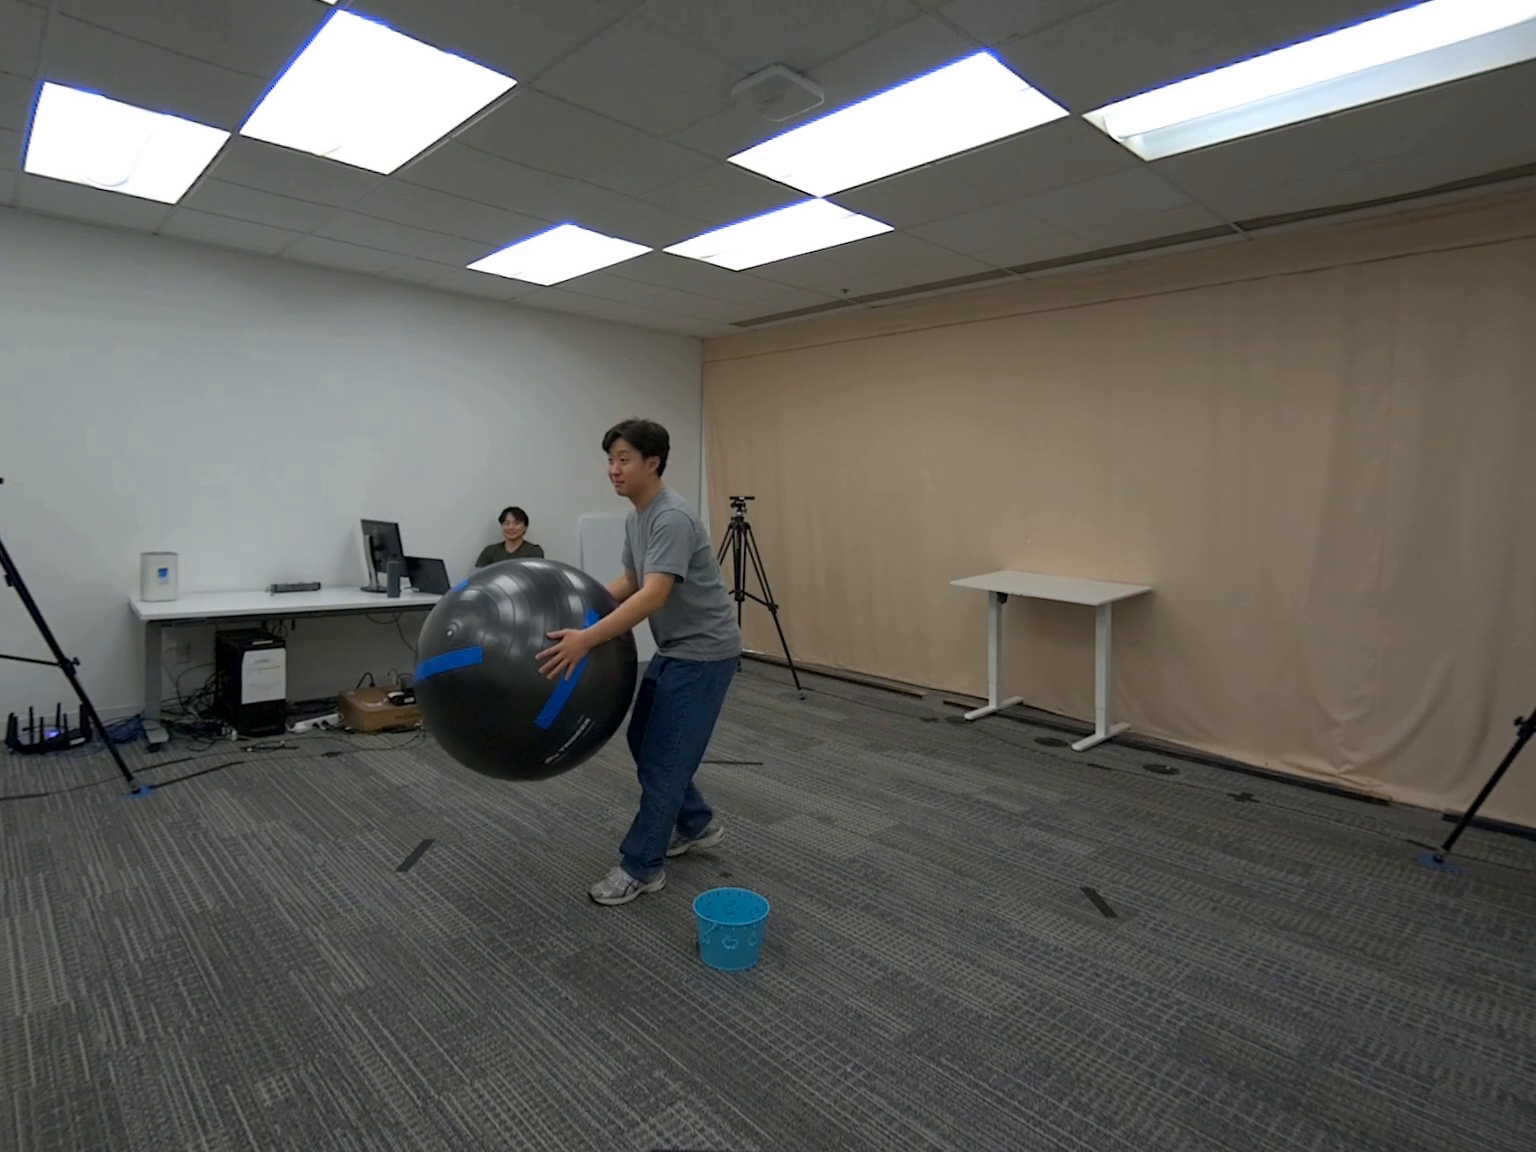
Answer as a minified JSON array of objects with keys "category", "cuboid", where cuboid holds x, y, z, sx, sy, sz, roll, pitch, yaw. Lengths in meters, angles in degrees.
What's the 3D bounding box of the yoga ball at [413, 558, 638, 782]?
[{"category":"yoga ball","cuboid":[-0.831,0.329,2.922,0.757,0.756,0.761,1,4,-1]}]
